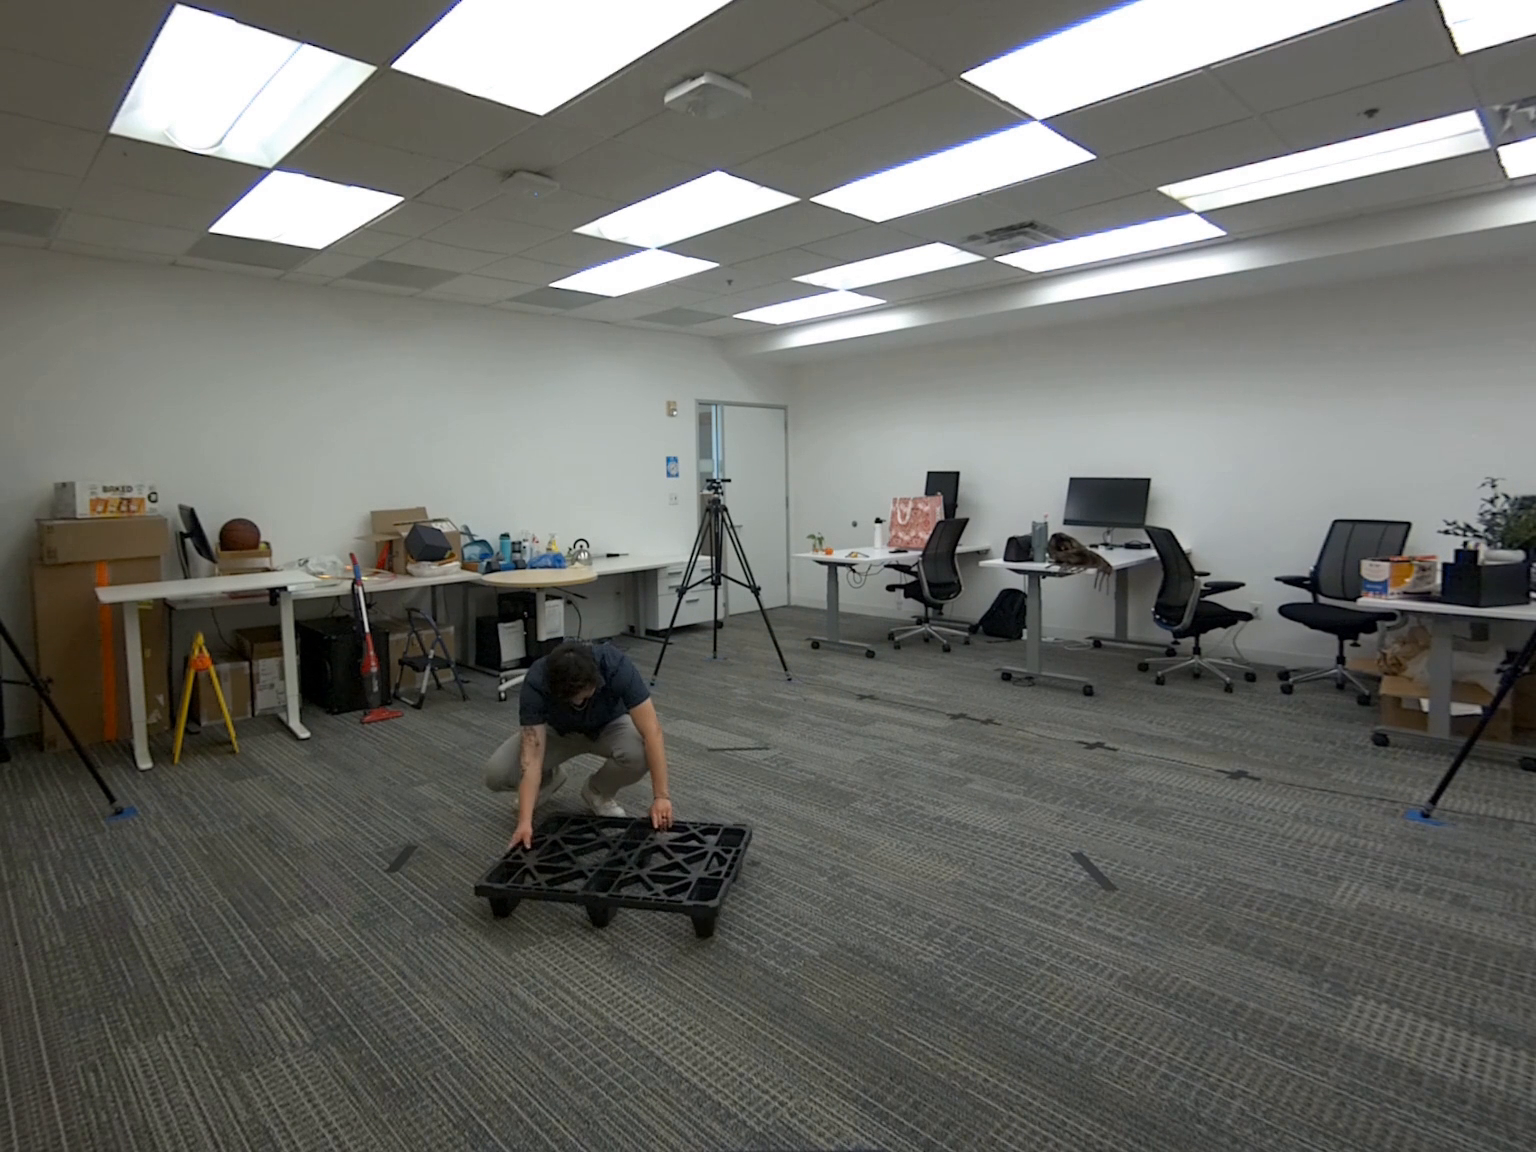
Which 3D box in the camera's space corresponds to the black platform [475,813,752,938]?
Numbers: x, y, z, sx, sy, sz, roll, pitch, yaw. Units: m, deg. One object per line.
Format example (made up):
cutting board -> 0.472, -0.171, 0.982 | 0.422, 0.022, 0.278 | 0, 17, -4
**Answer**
black platform -> -0.492, 1.006, 2.909 | 0.815, 0.142, 0.601 | 0, 8, 12
